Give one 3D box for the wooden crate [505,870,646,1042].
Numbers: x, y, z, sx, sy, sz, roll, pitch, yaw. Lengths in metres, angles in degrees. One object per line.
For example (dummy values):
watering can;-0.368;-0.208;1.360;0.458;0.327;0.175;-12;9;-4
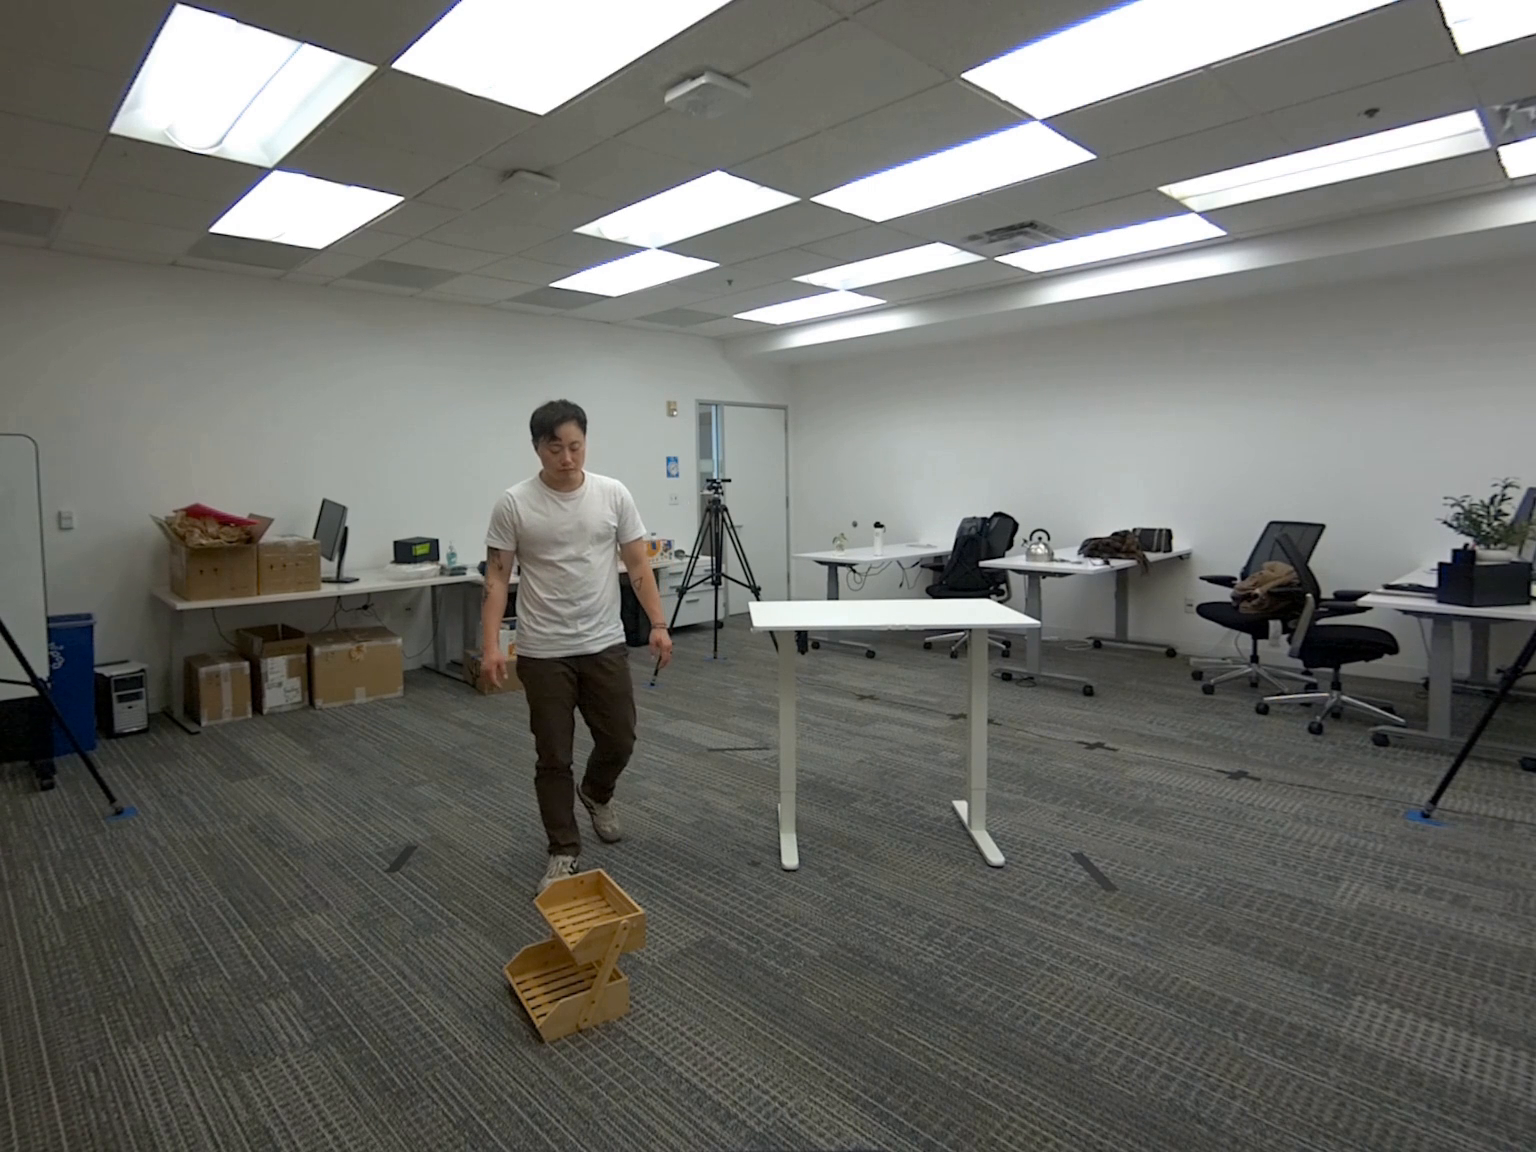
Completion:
wooden crate;-0.532;1.016;2.322;0.295;0.272;0.334;-3;6;-32
